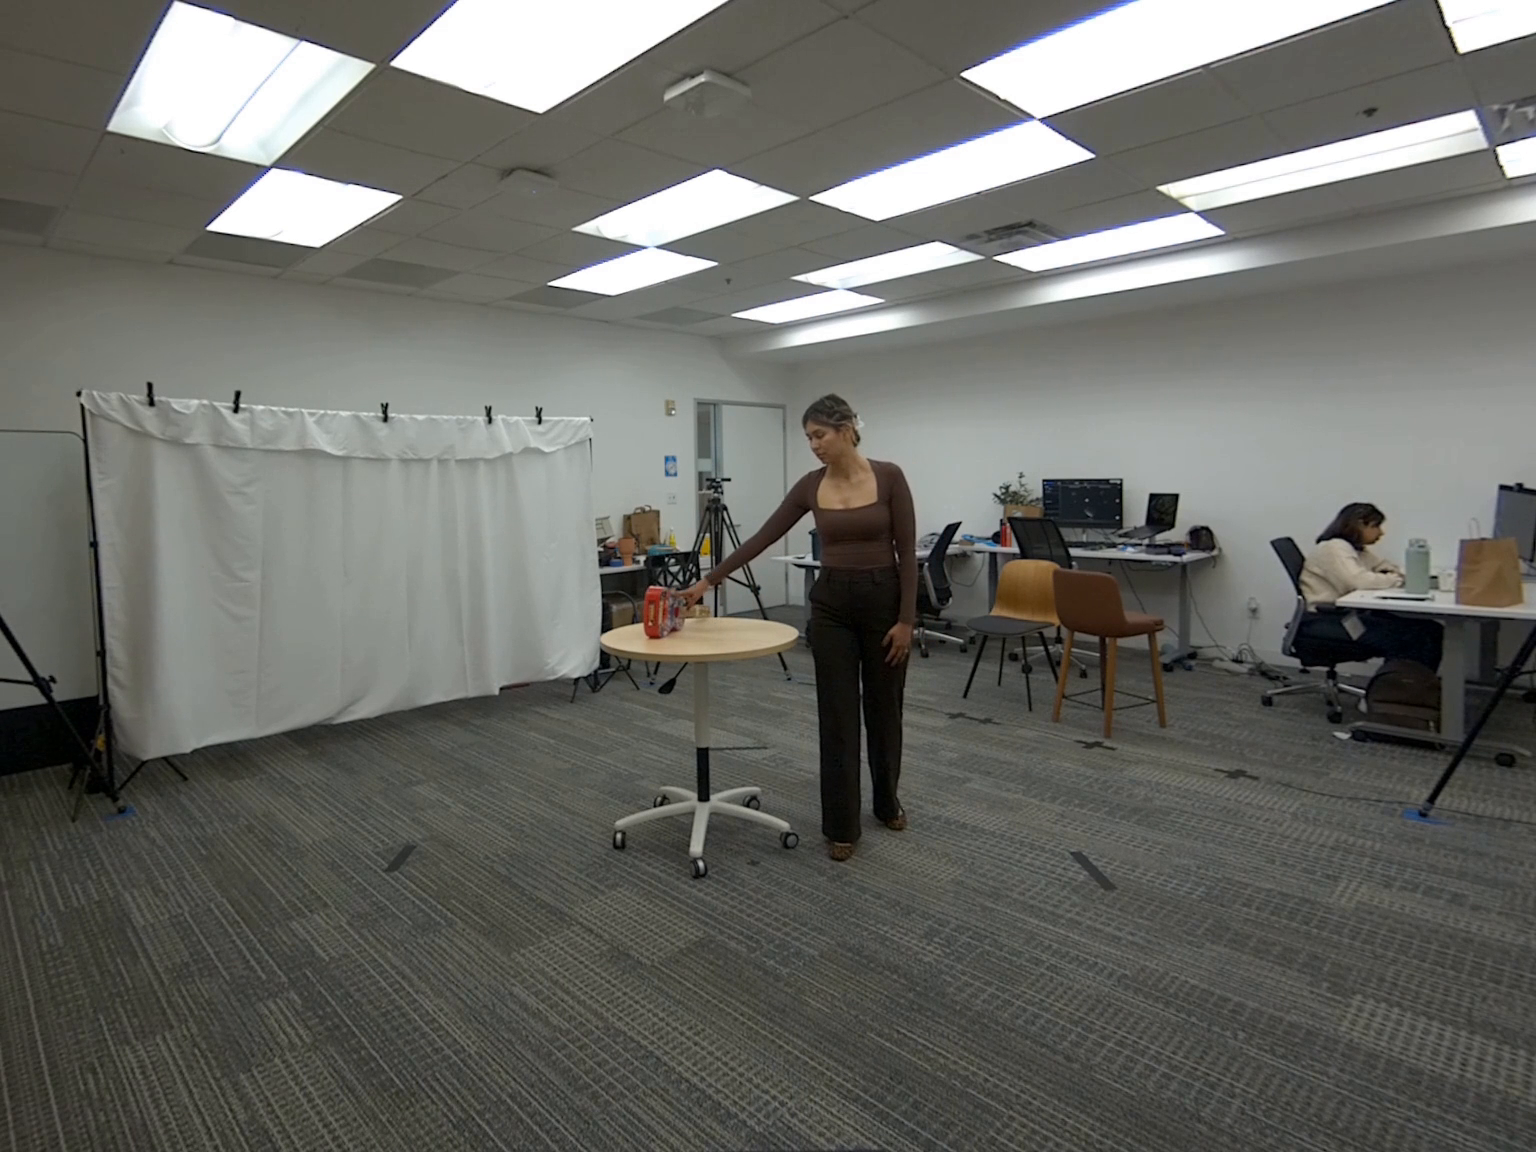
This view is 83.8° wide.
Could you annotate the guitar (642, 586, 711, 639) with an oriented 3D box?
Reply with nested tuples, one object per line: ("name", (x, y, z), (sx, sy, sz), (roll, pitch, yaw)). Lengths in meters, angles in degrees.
("guitar", (-0.358, 0.171, 3.438), (0.072, 0.195, 0.484), (0, -11, 17))
